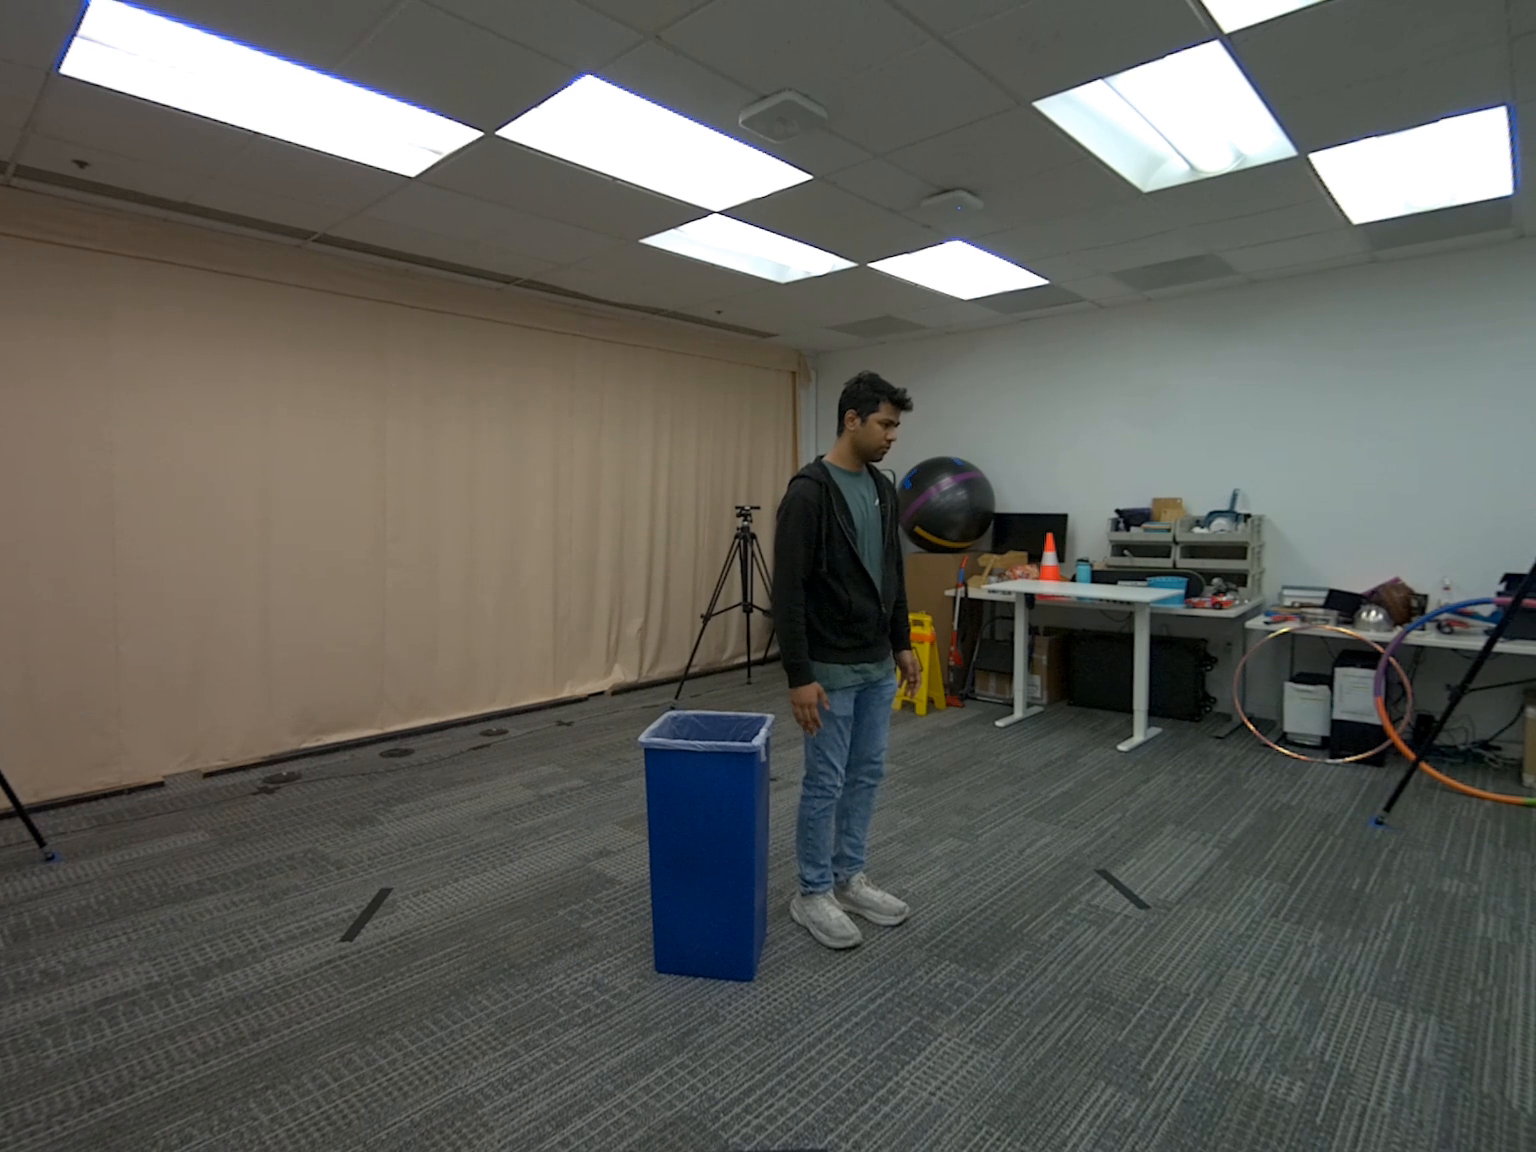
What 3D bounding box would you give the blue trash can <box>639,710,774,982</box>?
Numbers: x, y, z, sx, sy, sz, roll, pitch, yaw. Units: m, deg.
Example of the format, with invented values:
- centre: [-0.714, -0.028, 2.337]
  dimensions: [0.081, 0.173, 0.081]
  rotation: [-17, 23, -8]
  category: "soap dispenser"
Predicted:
- centre: [-0.176, 0.818, 2.615]
  dimensions: [0.383, 0.712, 0.370]
  rotation: [0, 3, 10]
  category: "blue trash can"
